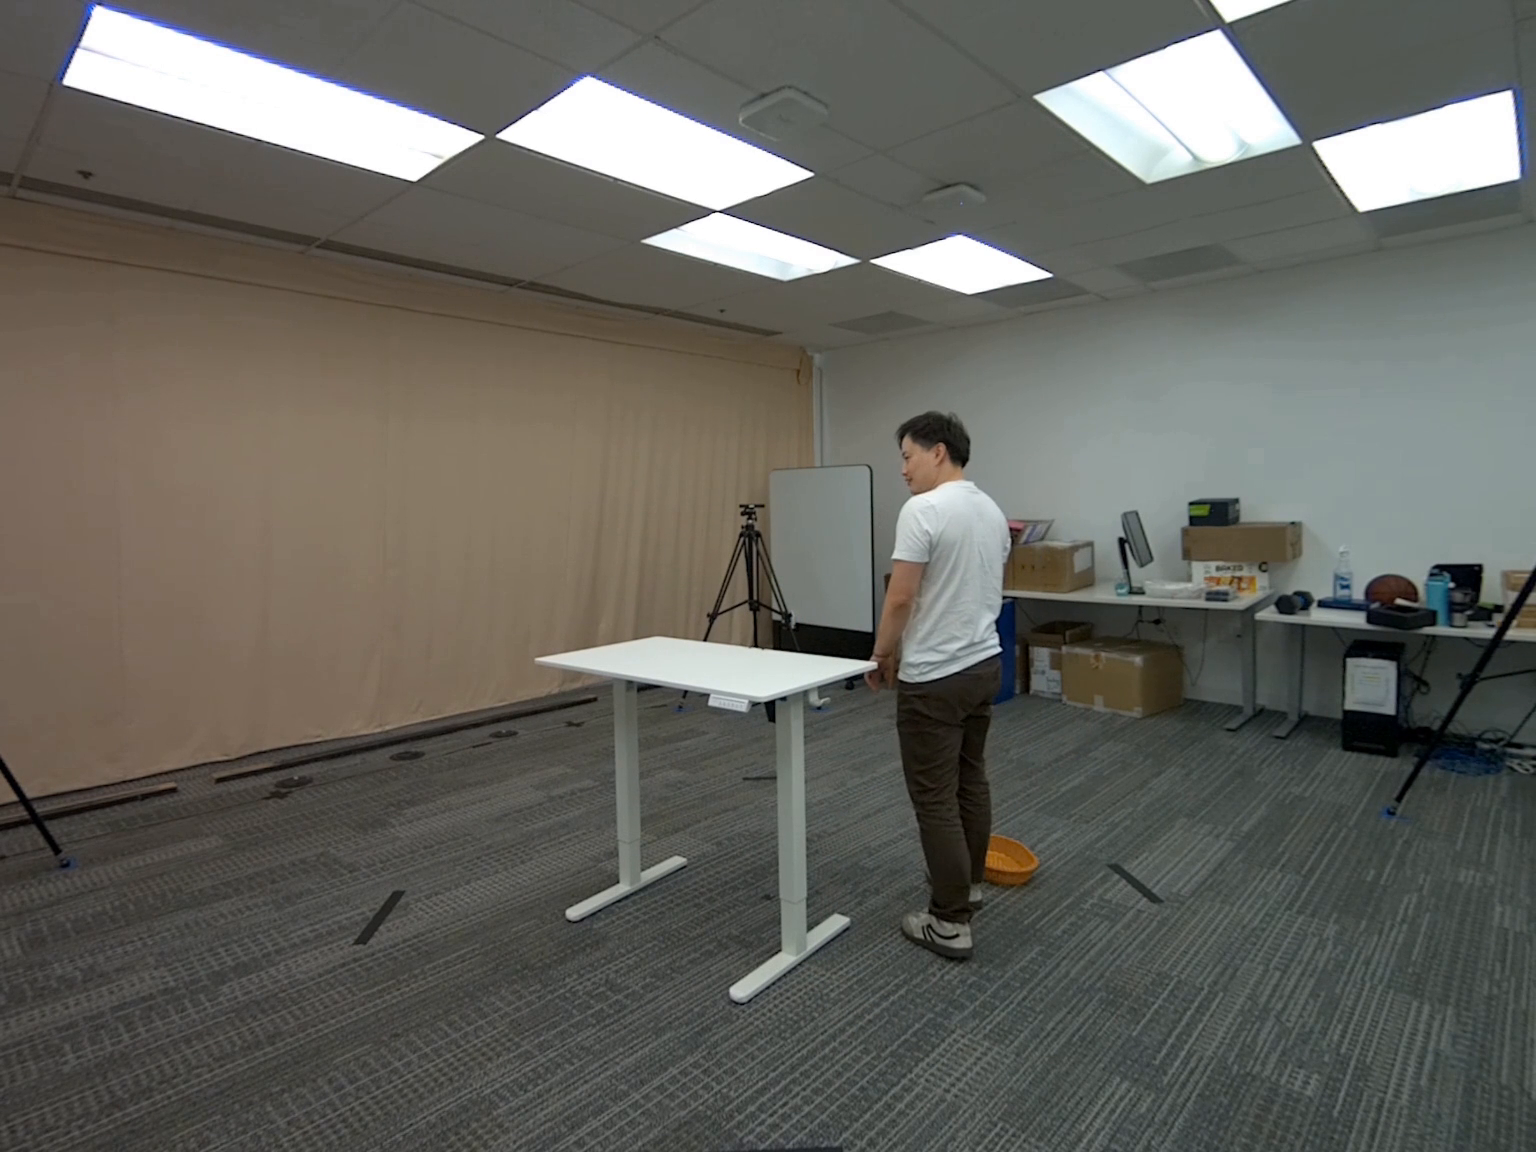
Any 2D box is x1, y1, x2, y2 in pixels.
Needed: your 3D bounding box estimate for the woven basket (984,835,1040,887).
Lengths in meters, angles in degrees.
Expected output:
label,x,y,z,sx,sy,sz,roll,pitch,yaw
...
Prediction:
label,x,y,z,sx,sy,sz,roll,pitch,yaw
woven basket,0.868,1.069,3.176,0.251,0.073,0.353,0,5,-4
